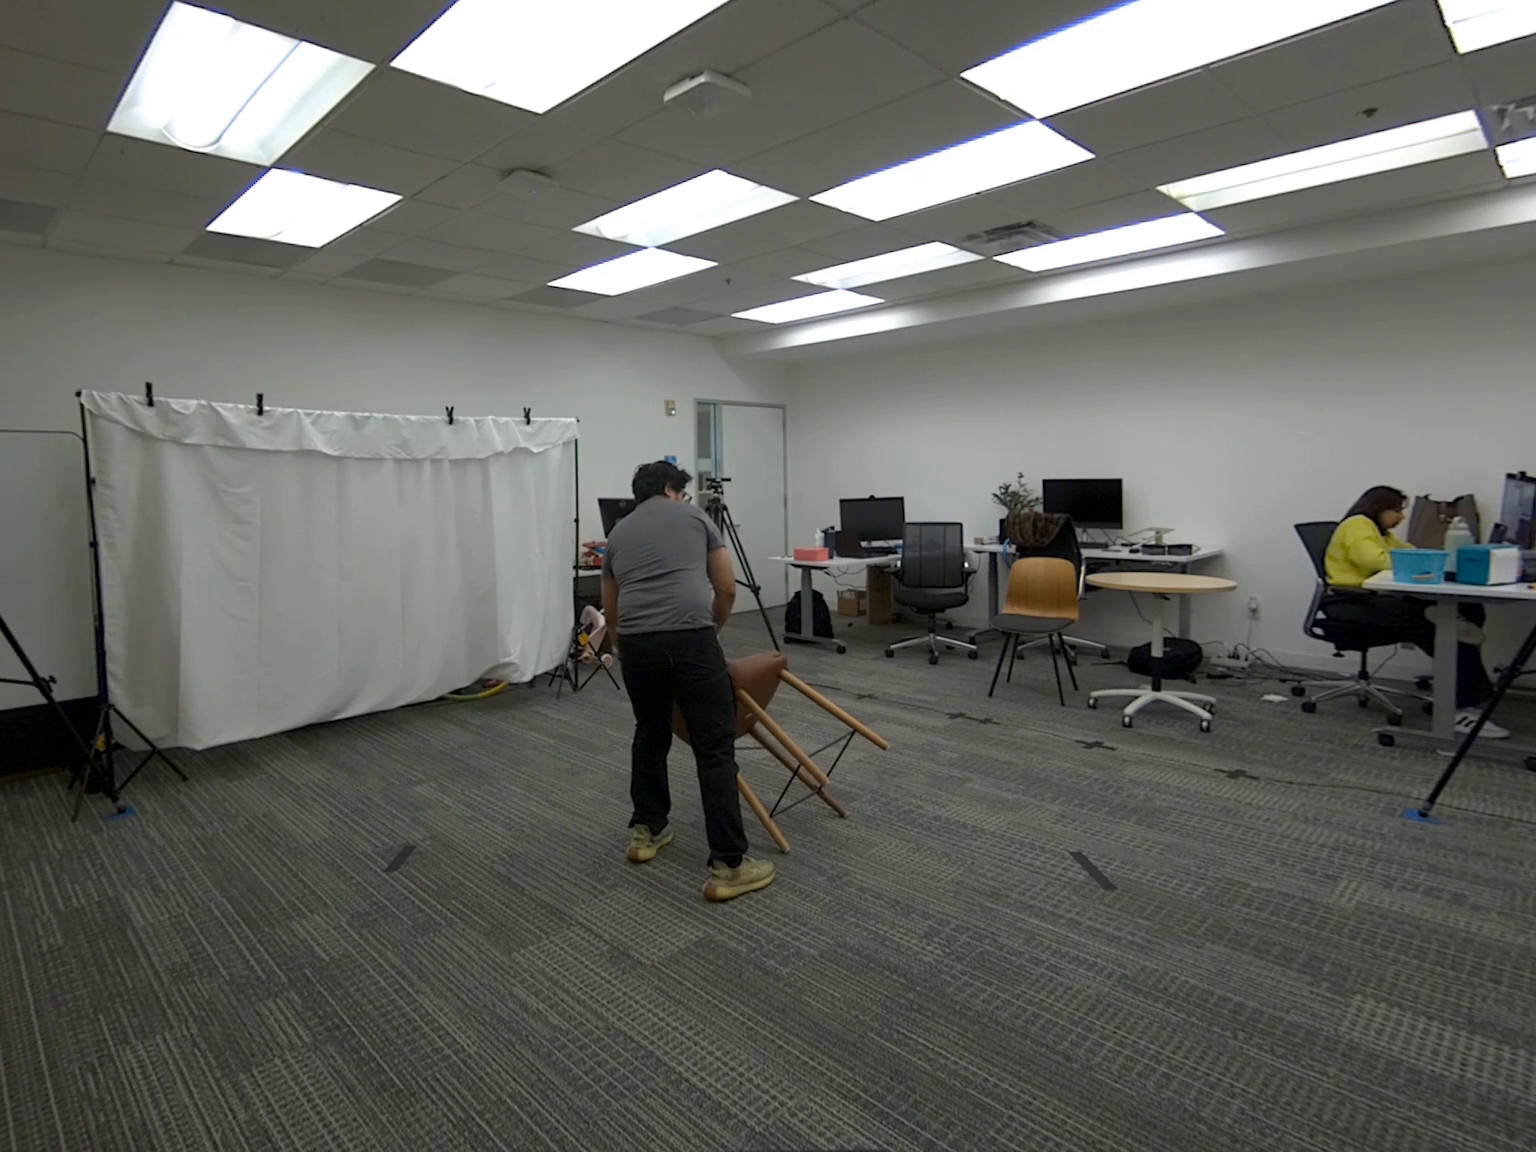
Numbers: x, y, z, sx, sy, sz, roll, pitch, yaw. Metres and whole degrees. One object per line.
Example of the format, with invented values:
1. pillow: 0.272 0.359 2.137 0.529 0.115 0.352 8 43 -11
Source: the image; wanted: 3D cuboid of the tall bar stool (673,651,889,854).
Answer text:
1. tall bar stool: -0.043 0.603 3.481 0.919 0.452 0.457 39 29 27
